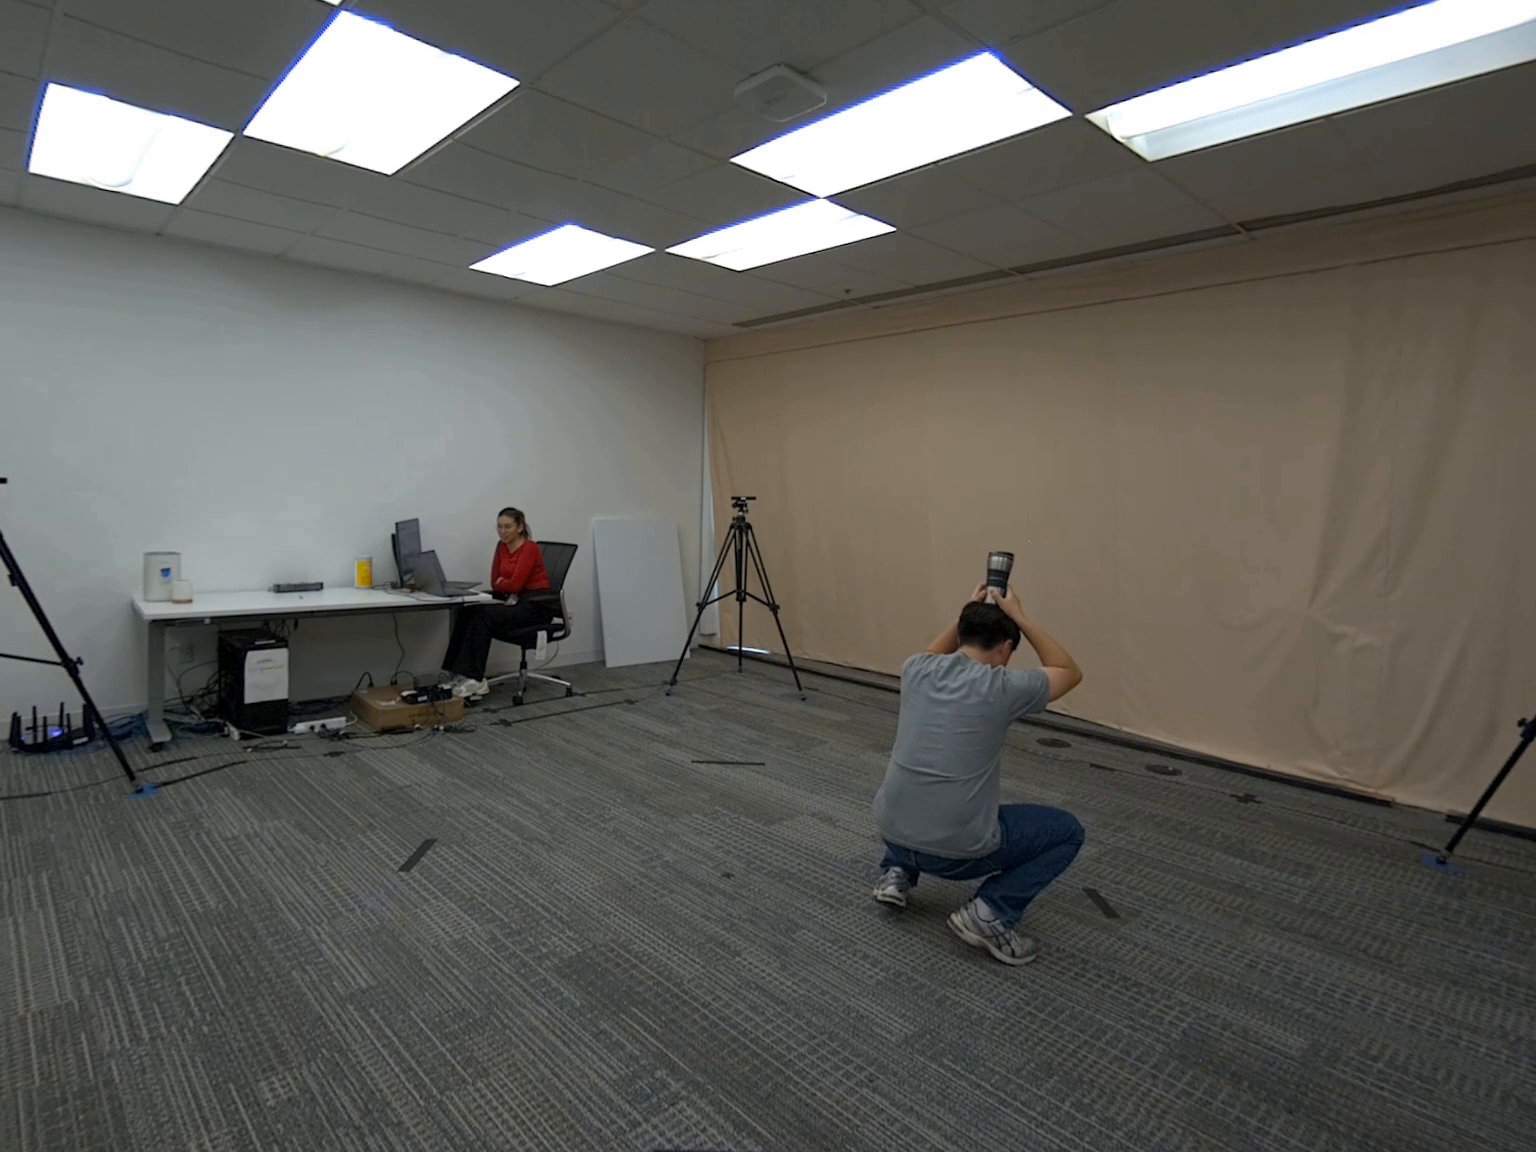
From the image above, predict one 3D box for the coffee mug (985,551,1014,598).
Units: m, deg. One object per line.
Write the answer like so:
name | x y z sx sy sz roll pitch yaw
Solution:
coffee mug | 0.812 0.022 2.948 0.090 0.204 0.118 1 -12 36
